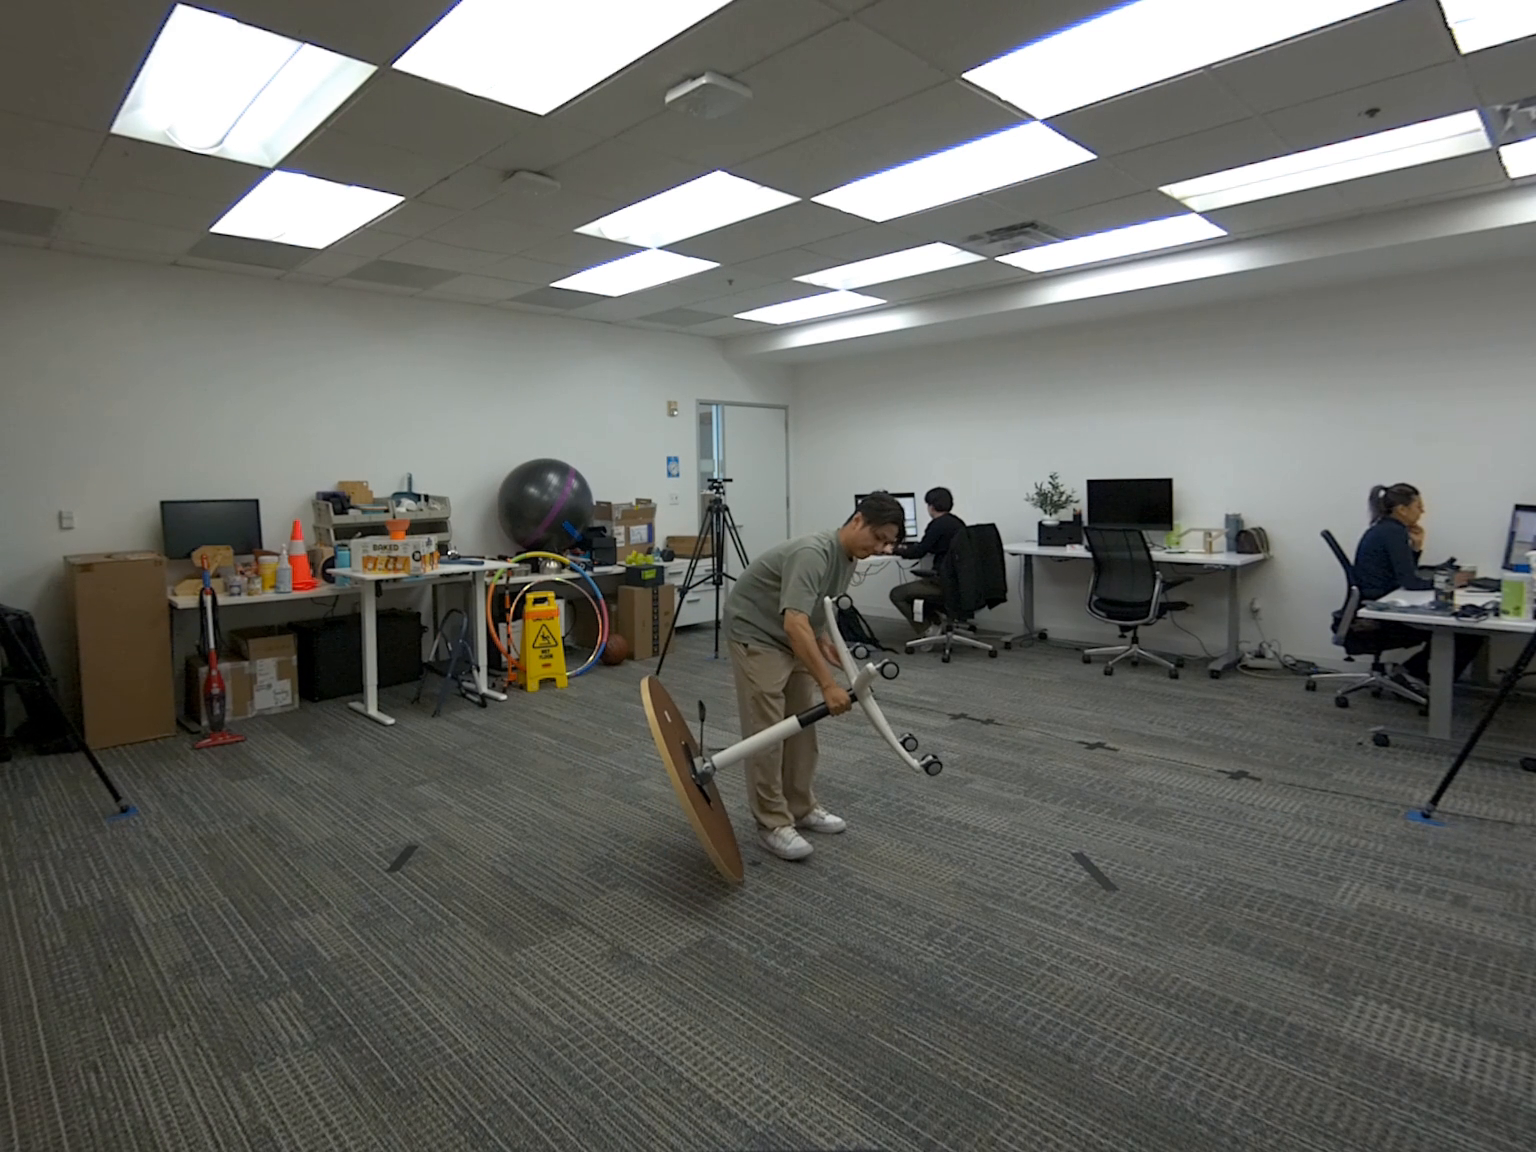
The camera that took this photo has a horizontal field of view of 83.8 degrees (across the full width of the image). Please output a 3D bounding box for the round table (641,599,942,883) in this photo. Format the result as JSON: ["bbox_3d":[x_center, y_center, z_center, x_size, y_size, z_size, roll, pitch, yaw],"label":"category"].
[{"bbox_3d":[0.076,0.529,3.024,0.786,0.780,0.791,-27,6,-1],"label":"round table"}]
